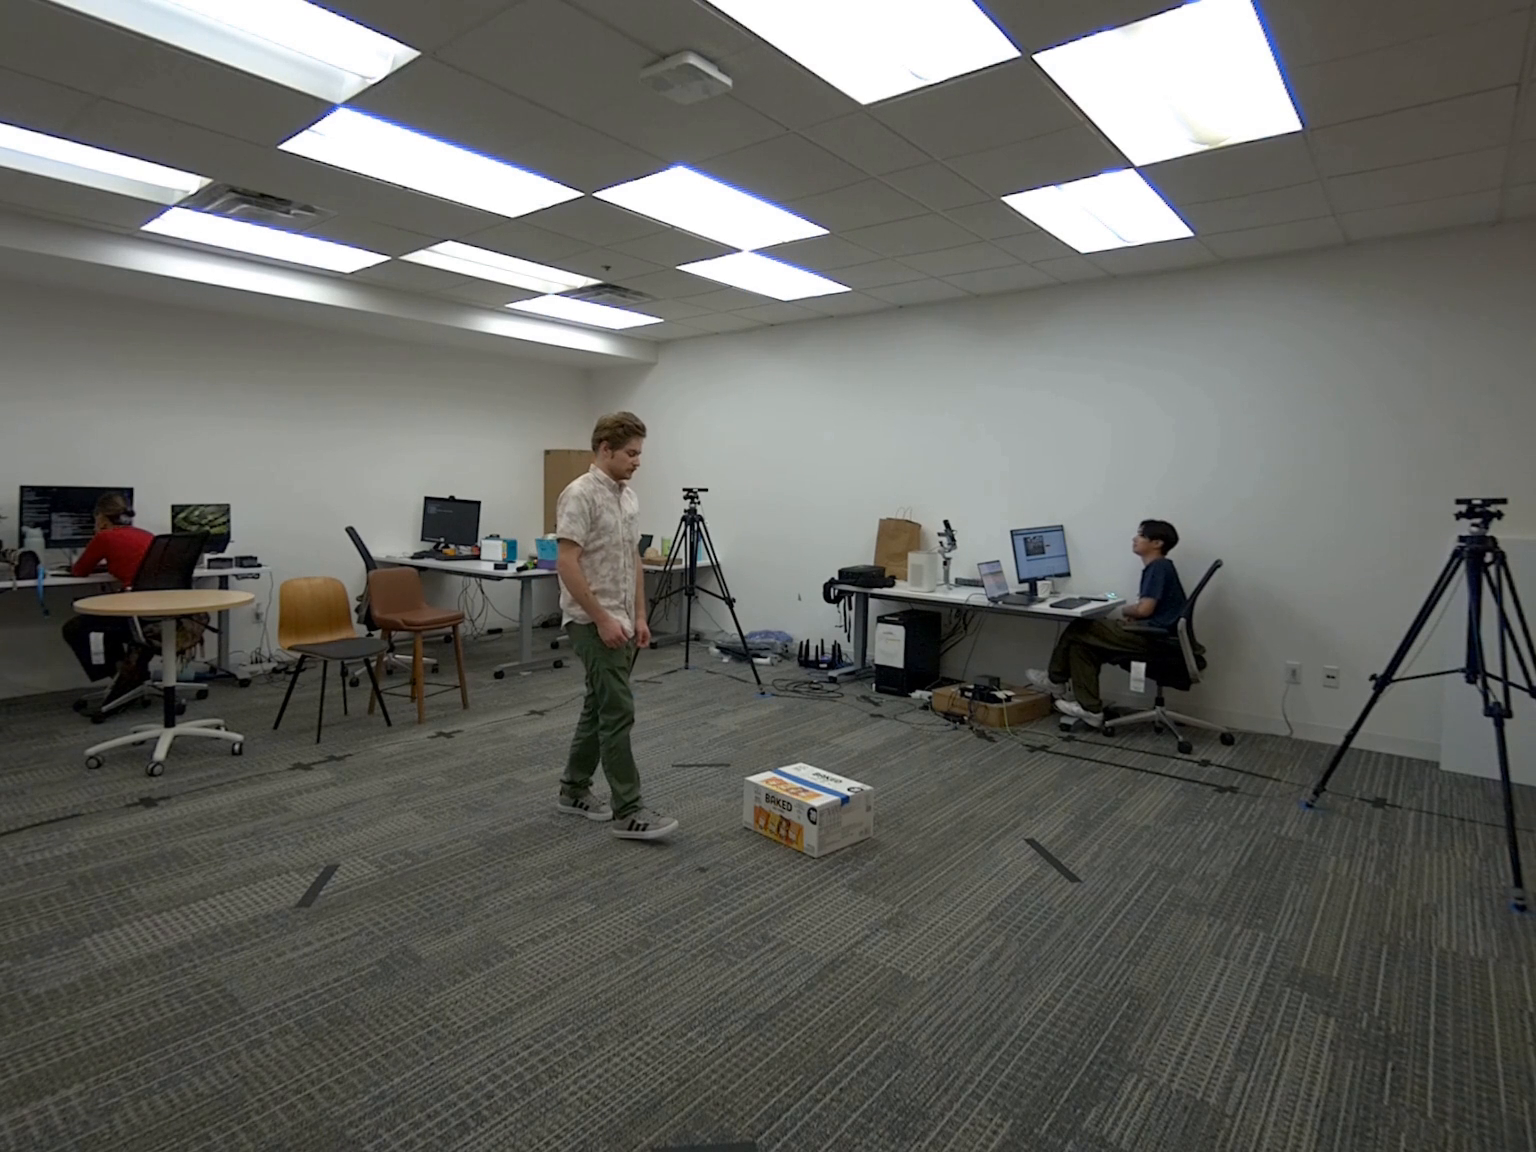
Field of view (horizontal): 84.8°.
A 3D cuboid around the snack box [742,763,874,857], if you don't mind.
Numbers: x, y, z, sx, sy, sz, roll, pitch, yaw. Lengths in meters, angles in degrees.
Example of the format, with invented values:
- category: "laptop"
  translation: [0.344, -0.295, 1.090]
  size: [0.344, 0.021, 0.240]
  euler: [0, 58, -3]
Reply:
- category: "snack box"
  translation: [0.156, 0.941, 3.468]
  size: [0.330, 0.205, 0.419]
  euler: [-4, 7, -43]
